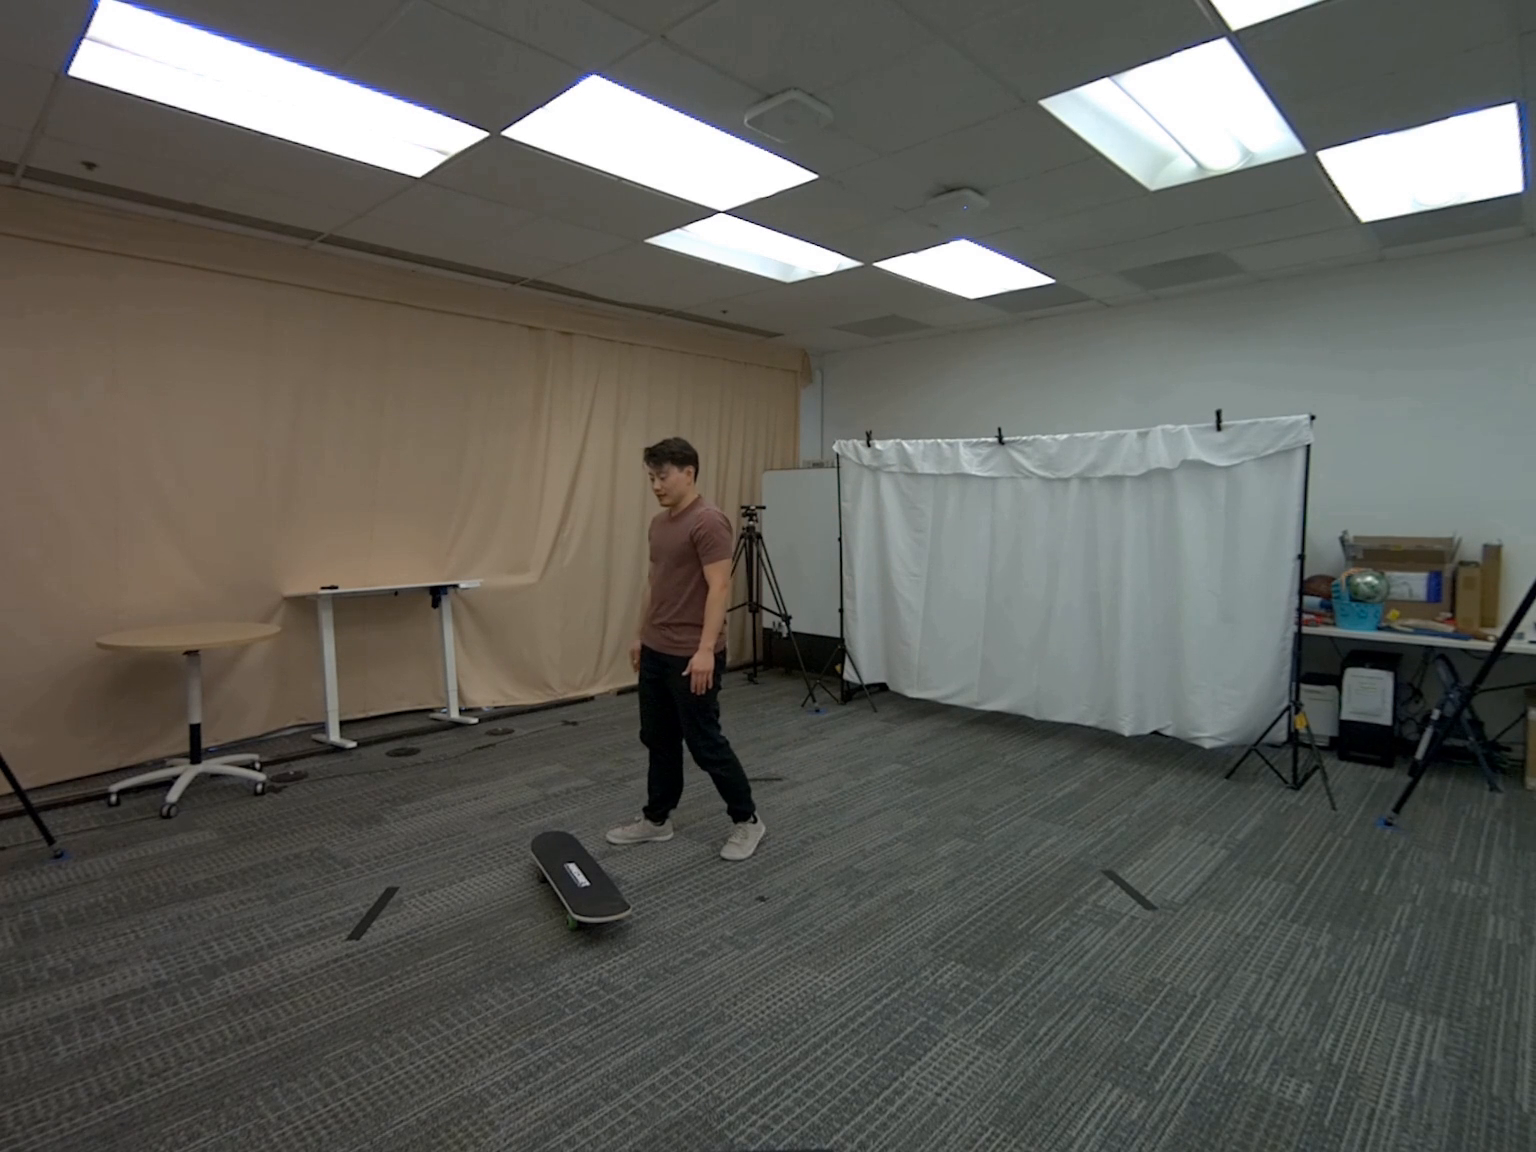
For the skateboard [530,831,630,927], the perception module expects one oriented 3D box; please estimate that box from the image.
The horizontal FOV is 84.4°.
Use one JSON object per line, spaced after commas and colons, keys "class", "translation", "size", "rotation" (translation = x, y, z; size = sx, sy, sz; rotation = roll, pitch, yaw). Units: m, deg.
{"class": "skateboard", "translation": [-0.676, 1.089, 2.990], "size": [0.188, 0.110, 0.807], "rotation": [-3, 5, -28]}
